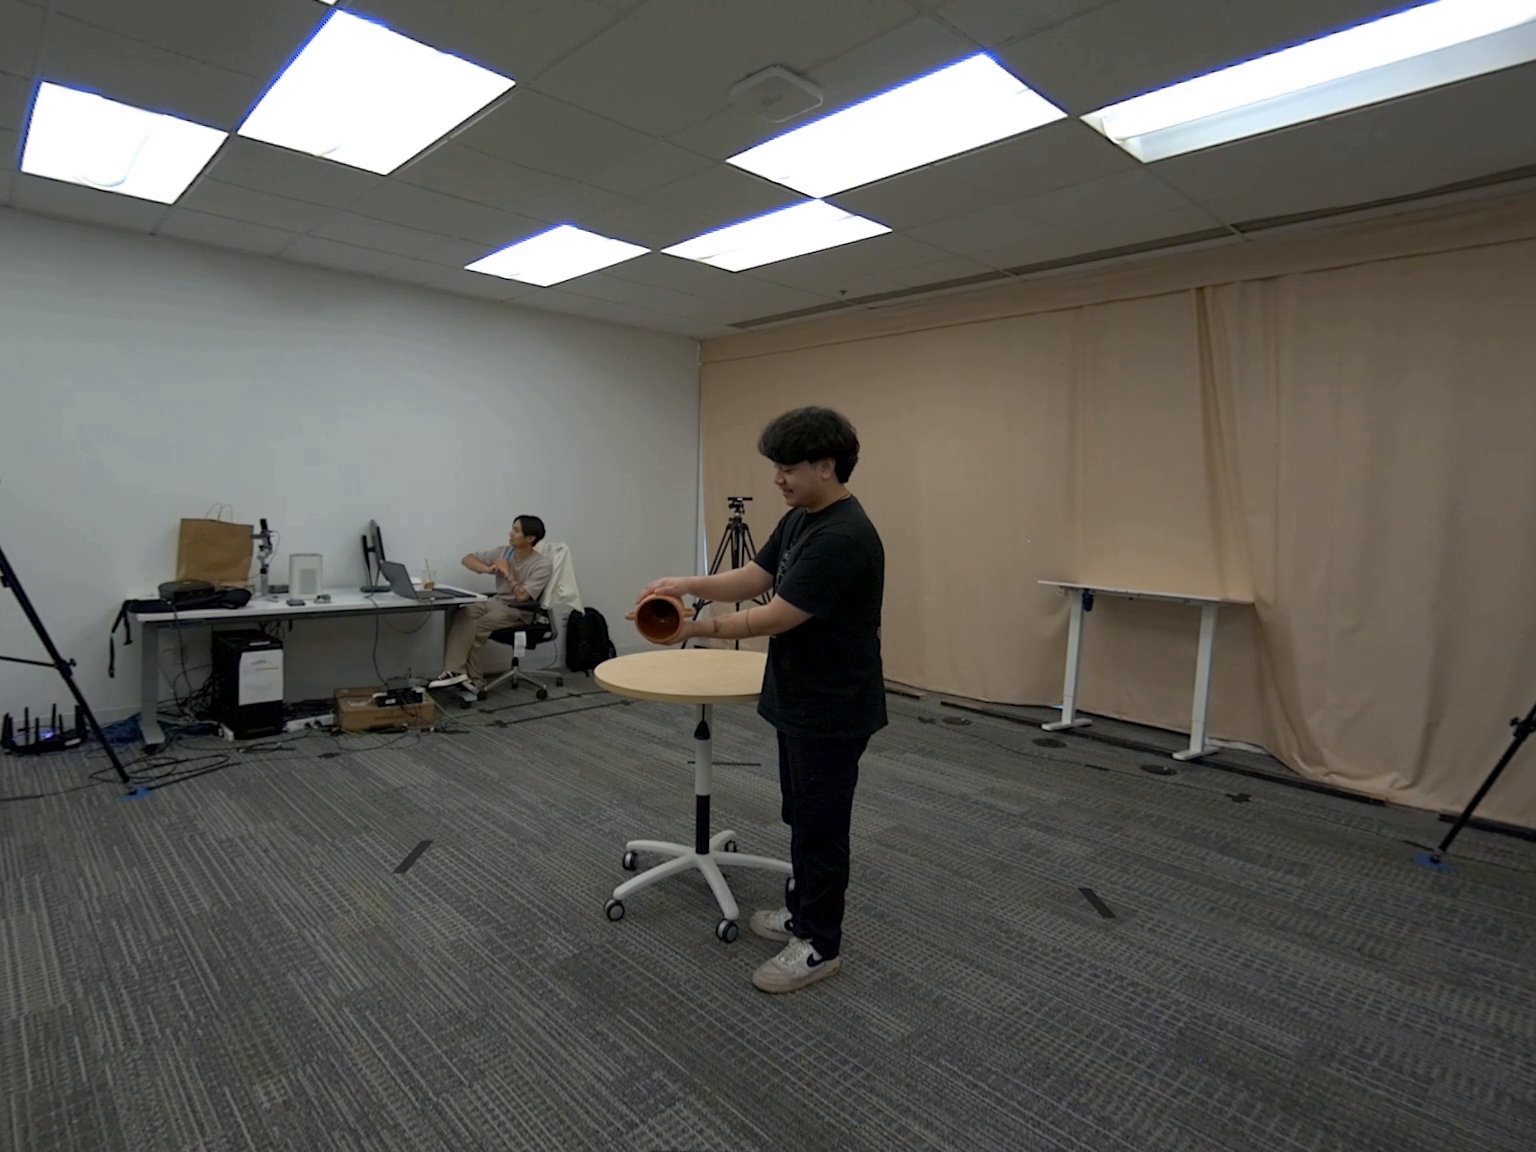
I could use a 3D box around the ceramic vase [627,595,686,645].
[{"bbox_3d":[-0.303,0.096,2.408,0.157,0.134,0.222,37,10,-8],"label":"ceramic vase"}]
